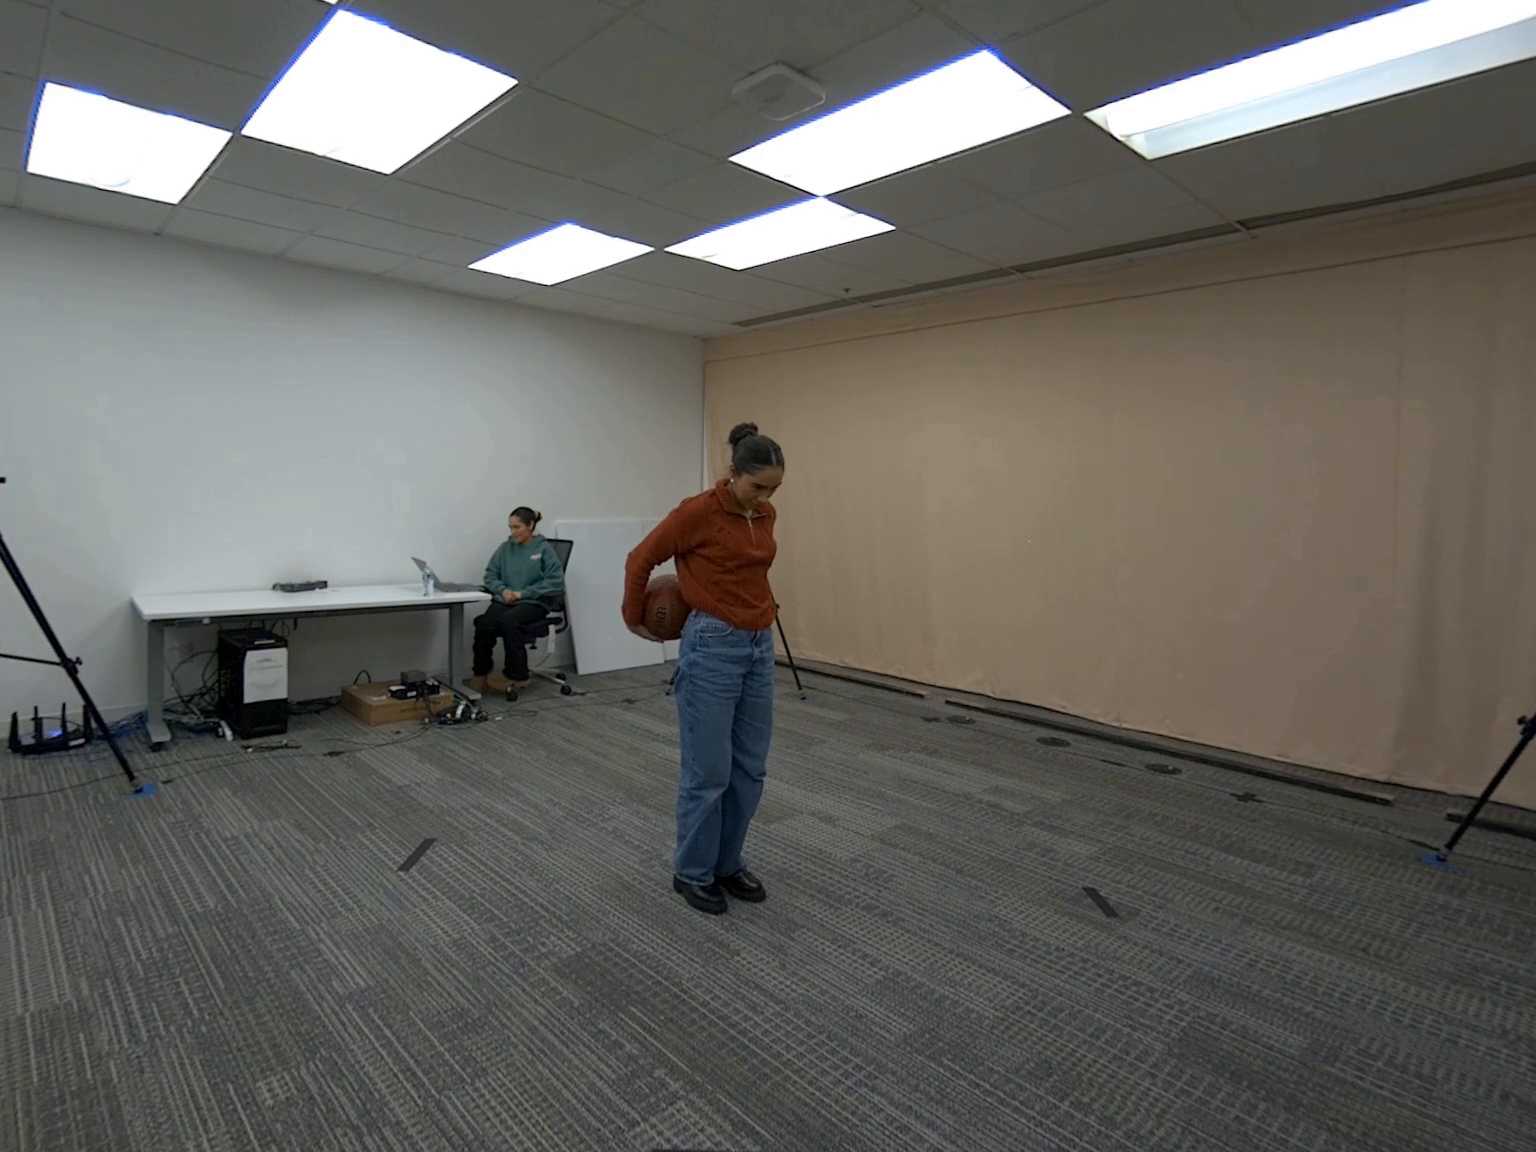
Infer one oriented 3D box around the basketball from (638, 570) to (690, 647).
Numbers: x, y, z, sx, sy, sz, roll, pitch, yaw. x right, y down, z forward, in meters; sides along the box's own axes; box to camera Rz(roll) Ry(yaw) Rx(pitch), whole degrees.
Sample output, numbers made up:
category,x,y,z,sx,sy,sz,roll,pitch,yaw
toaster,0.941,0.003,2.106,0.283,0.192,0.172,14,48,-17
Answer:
category,x,y,z,sx,sy,sz,roll,pitch,yaw
basketball,-0.329,0.108,3.000,0.236,0.235,0.237,1,4,-1
